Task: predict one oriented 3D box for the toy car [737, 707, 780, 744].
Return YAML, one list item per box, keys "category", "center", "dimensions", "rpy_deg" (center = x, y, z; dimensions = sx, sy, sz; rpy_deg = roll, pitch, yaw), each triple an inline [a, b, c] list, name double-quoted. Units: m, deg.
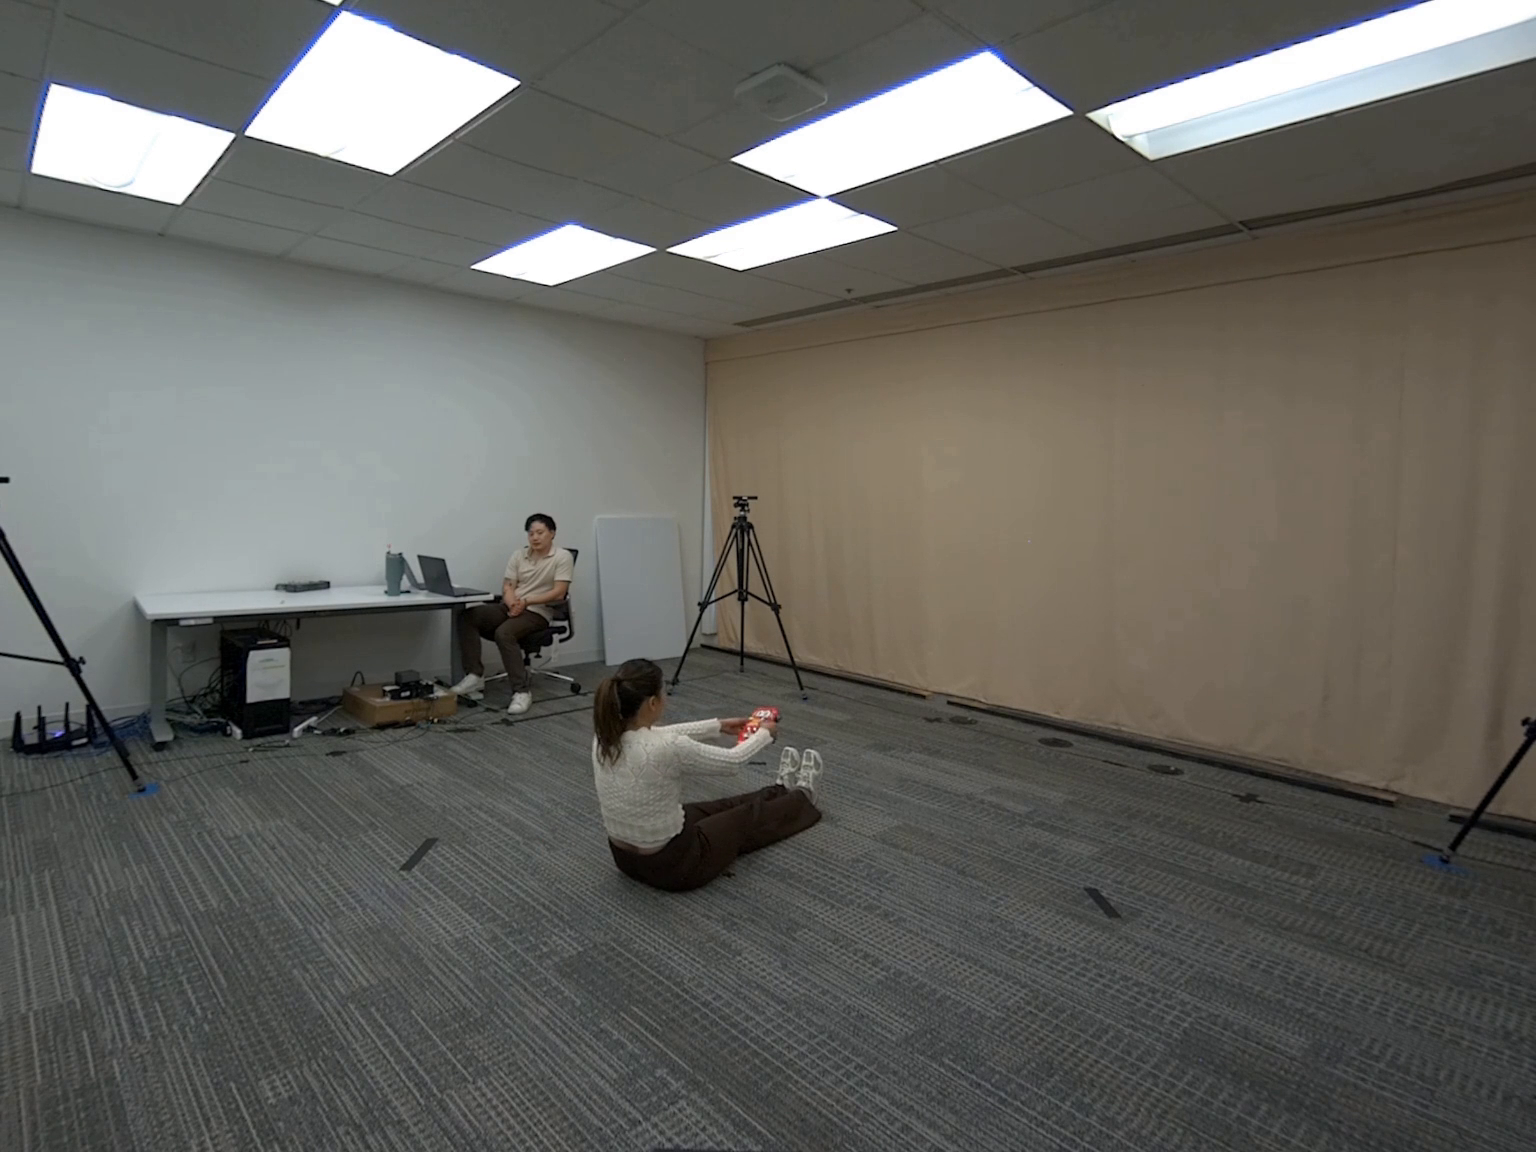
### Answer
- category: "toy car"
  center: [-0.060, 0.623, 3.395]
  dimensions: [0.133, 0.082, 0.253]
  rpy_deg: [-1, 19, 27]
